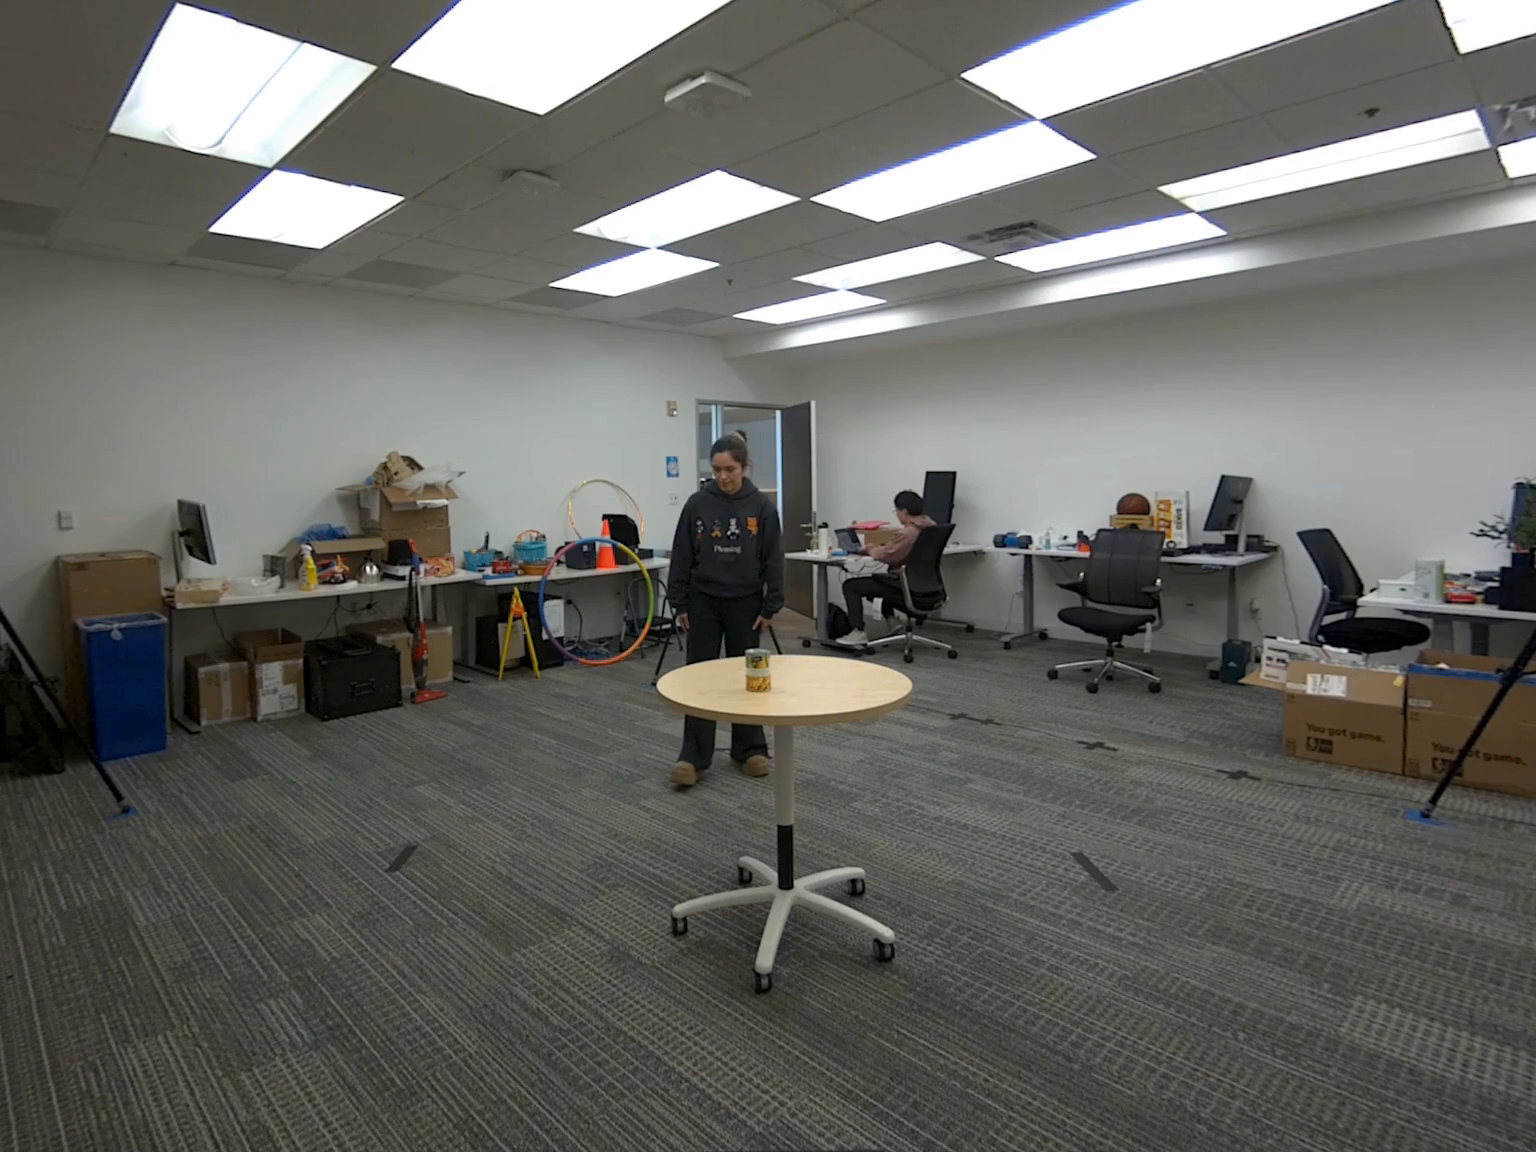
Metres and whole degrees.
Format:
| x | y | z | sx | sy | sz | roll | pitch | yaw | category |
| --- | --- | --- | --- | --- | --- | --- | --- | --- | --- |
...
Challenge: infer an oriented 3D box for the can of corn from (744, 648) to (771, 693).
| x | y | z | sx | sy | sz | roll | pitch | yaw | category |
| --- | --- | --- | --- | --- | --- | --- | --- | --- | --- |
| -0.031 | 0.279 | 2.484 | 0.074 | 0.111 | 0.074 | -6 | 4 | -1 | can of corn |
